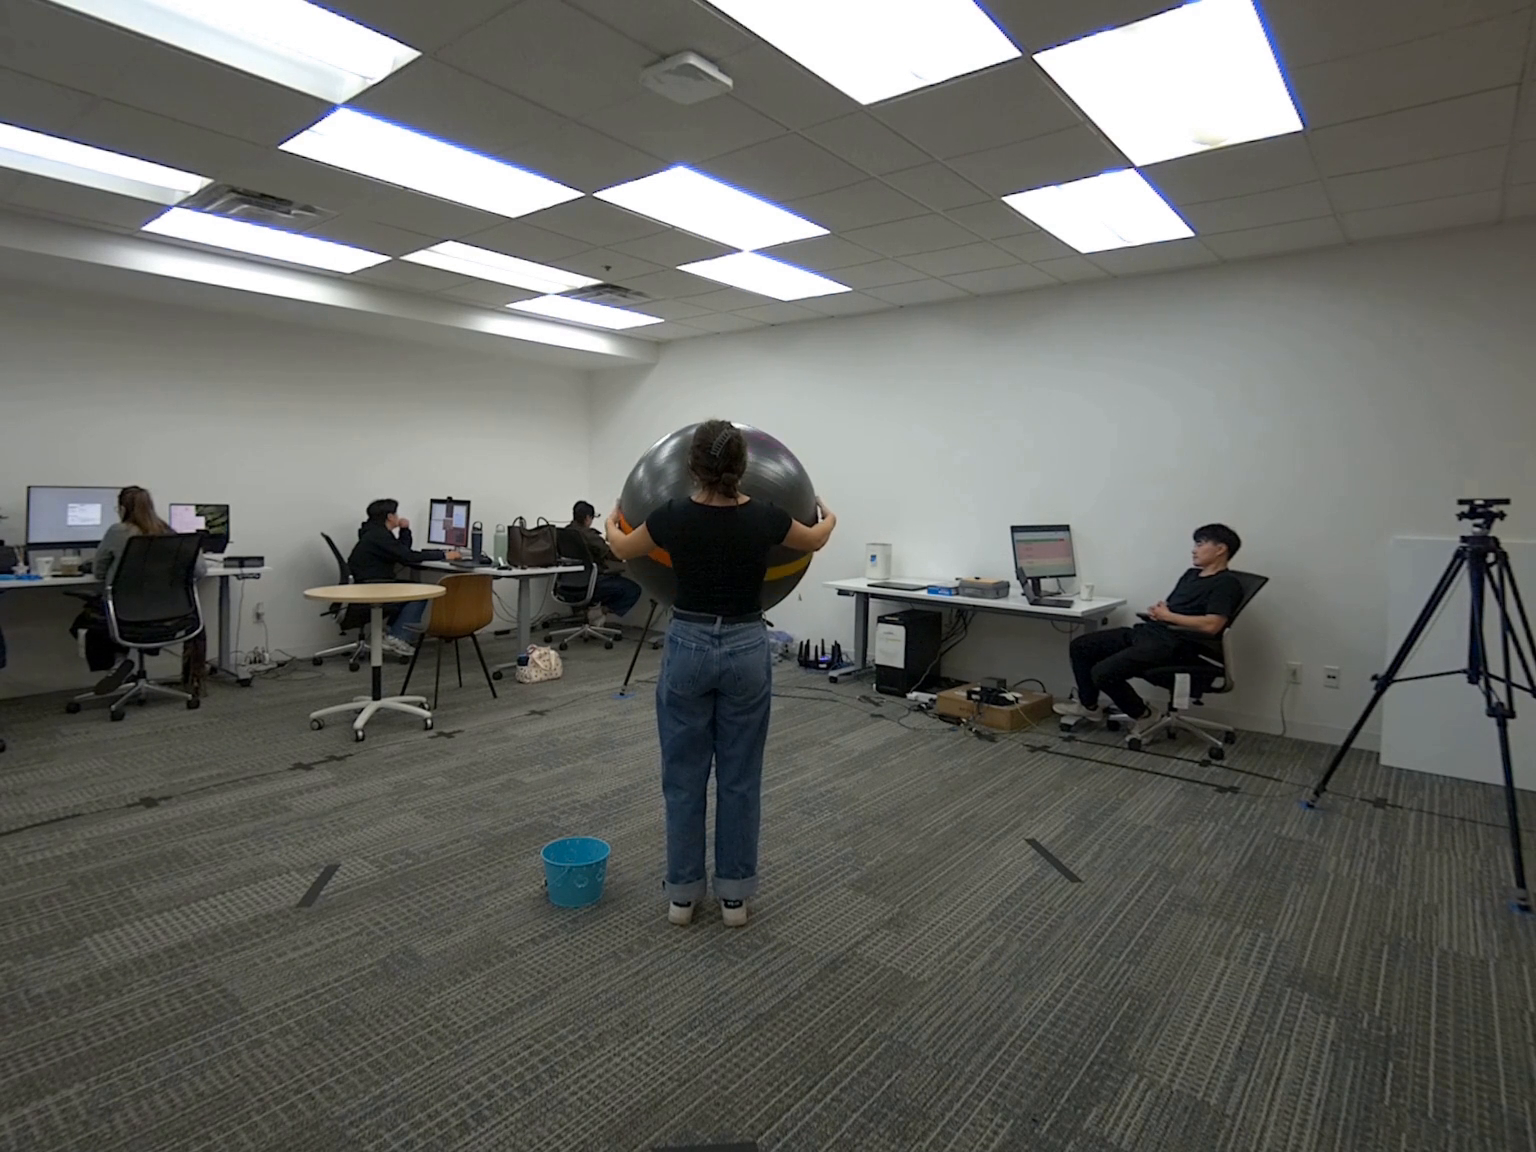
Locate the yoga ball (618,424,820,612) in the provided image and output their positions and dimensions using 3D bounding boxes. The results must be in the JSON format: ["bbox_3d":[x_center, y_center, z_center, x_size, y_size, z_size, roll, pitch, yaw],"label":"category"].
[{"bbox_3d":[-0.196,-0.204,3.225,0.757,0.755,0.762,1,4,-2],"label":"yoga ball"}]
